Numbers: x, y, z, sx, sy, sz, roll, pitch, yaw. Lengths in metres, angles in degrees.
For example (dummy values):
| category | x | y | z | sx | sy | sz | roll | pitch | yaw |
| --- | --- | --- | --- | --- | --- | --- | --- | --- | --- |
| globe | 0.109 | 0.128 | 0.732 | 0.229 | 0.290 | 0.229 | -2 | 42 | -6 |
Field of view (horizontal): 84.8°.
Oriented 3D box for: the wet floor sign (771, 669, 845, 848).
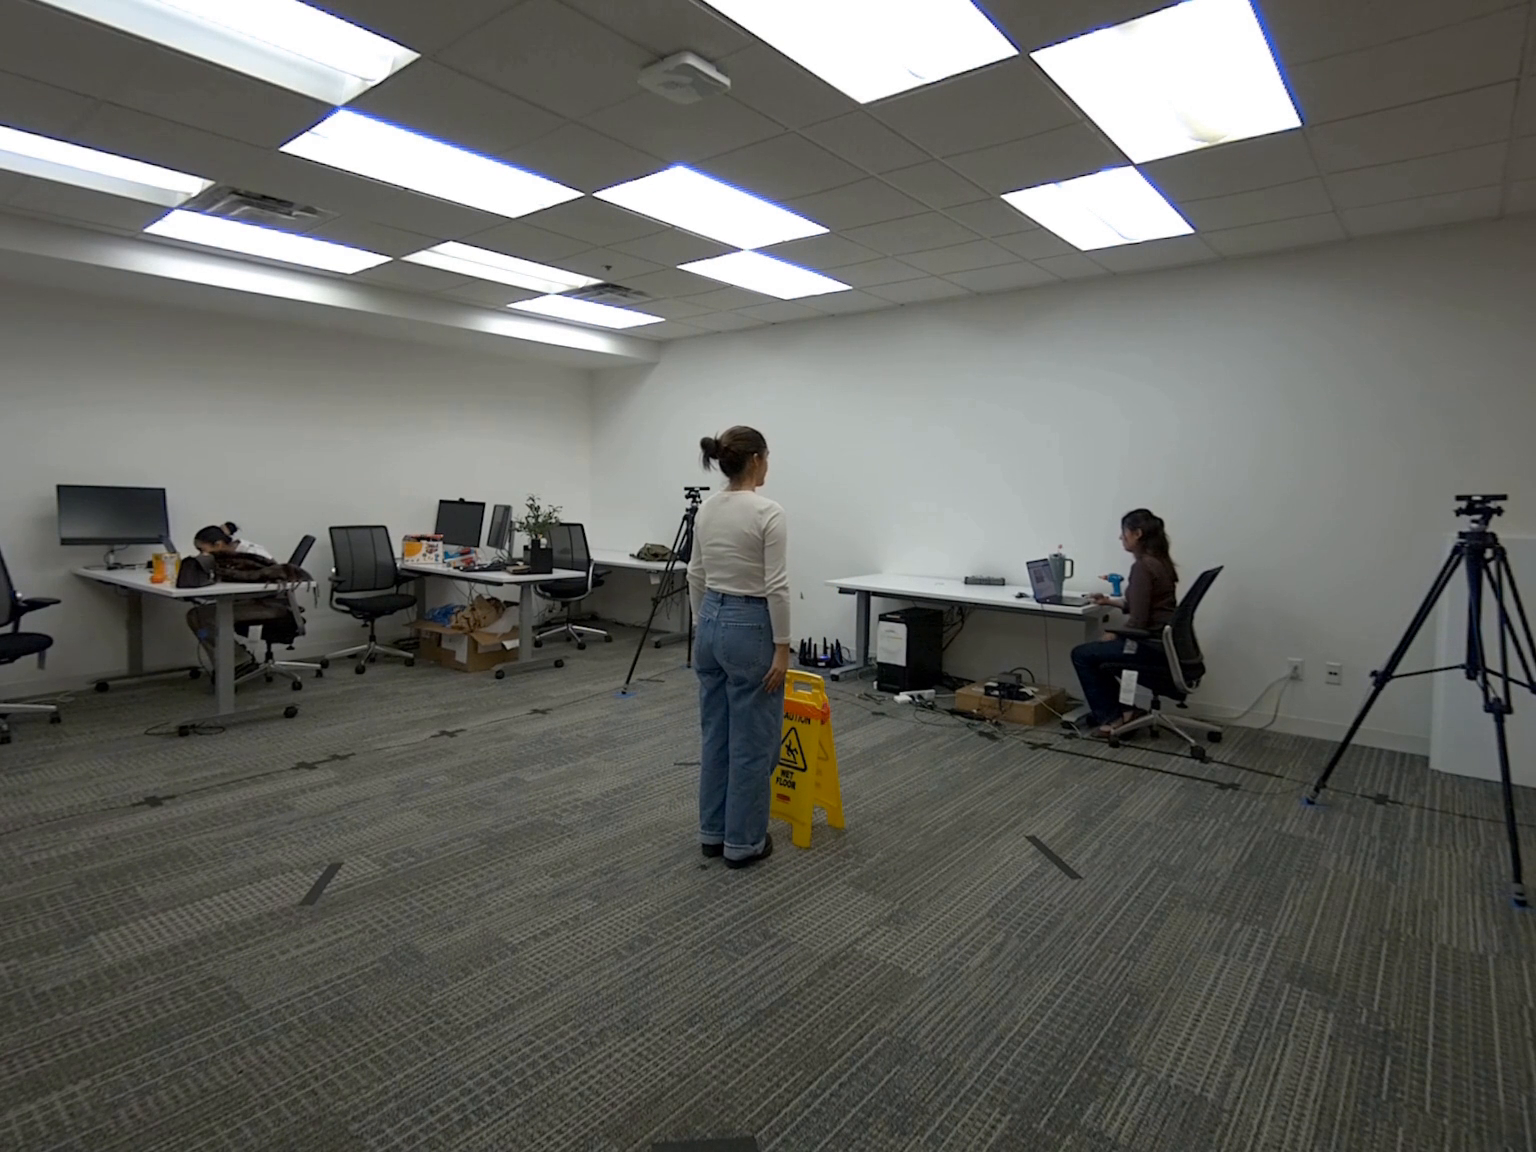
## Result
| category | x | y | z | sx | sy | sz | roll | pitch | yaw |
| --- | --- | --- | --- | --- | --- | --- | --- | --- | --- |
| wet floor sign | 0.124 | 0.709 | 3.471 | 0.292 | 0.644 | 0.281 | 5 | 4 | 39 |
